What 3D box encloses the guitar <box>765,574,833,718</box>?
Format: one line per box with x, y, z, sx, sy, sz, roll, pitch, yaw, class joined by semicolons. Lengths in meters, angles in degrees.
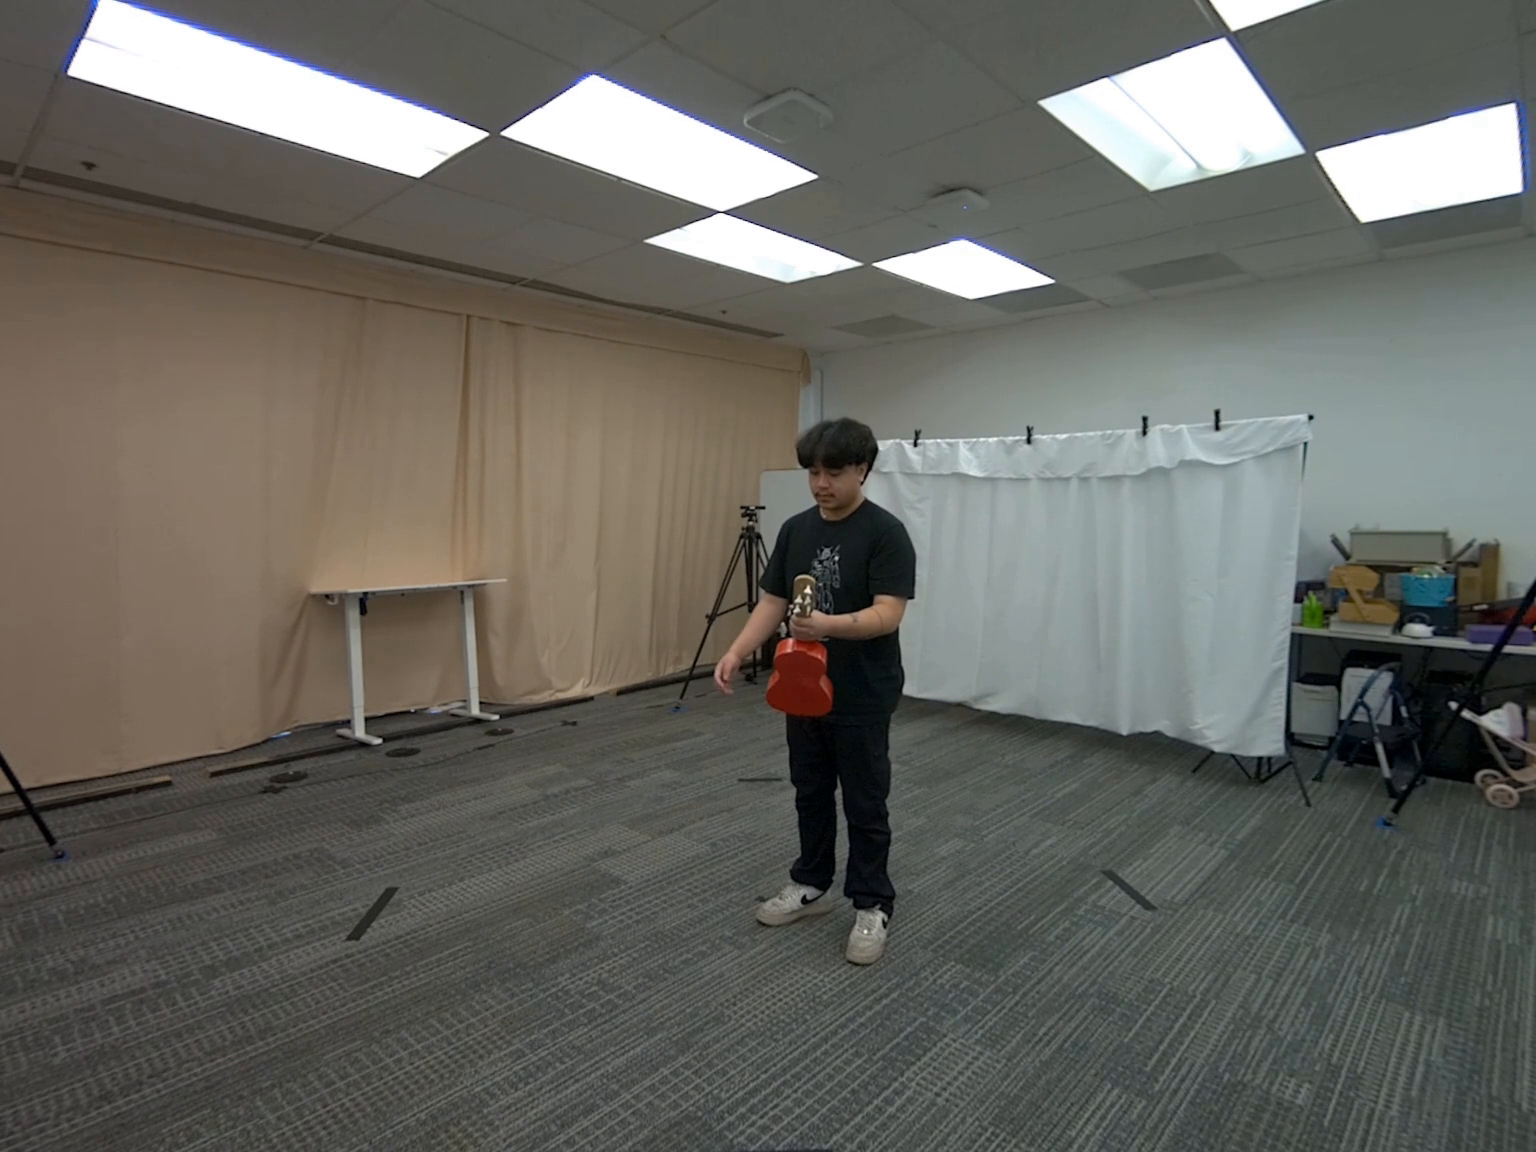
0.066;0.208;2.382;0.196;0.485;0.071;-2;39;16;guitar
